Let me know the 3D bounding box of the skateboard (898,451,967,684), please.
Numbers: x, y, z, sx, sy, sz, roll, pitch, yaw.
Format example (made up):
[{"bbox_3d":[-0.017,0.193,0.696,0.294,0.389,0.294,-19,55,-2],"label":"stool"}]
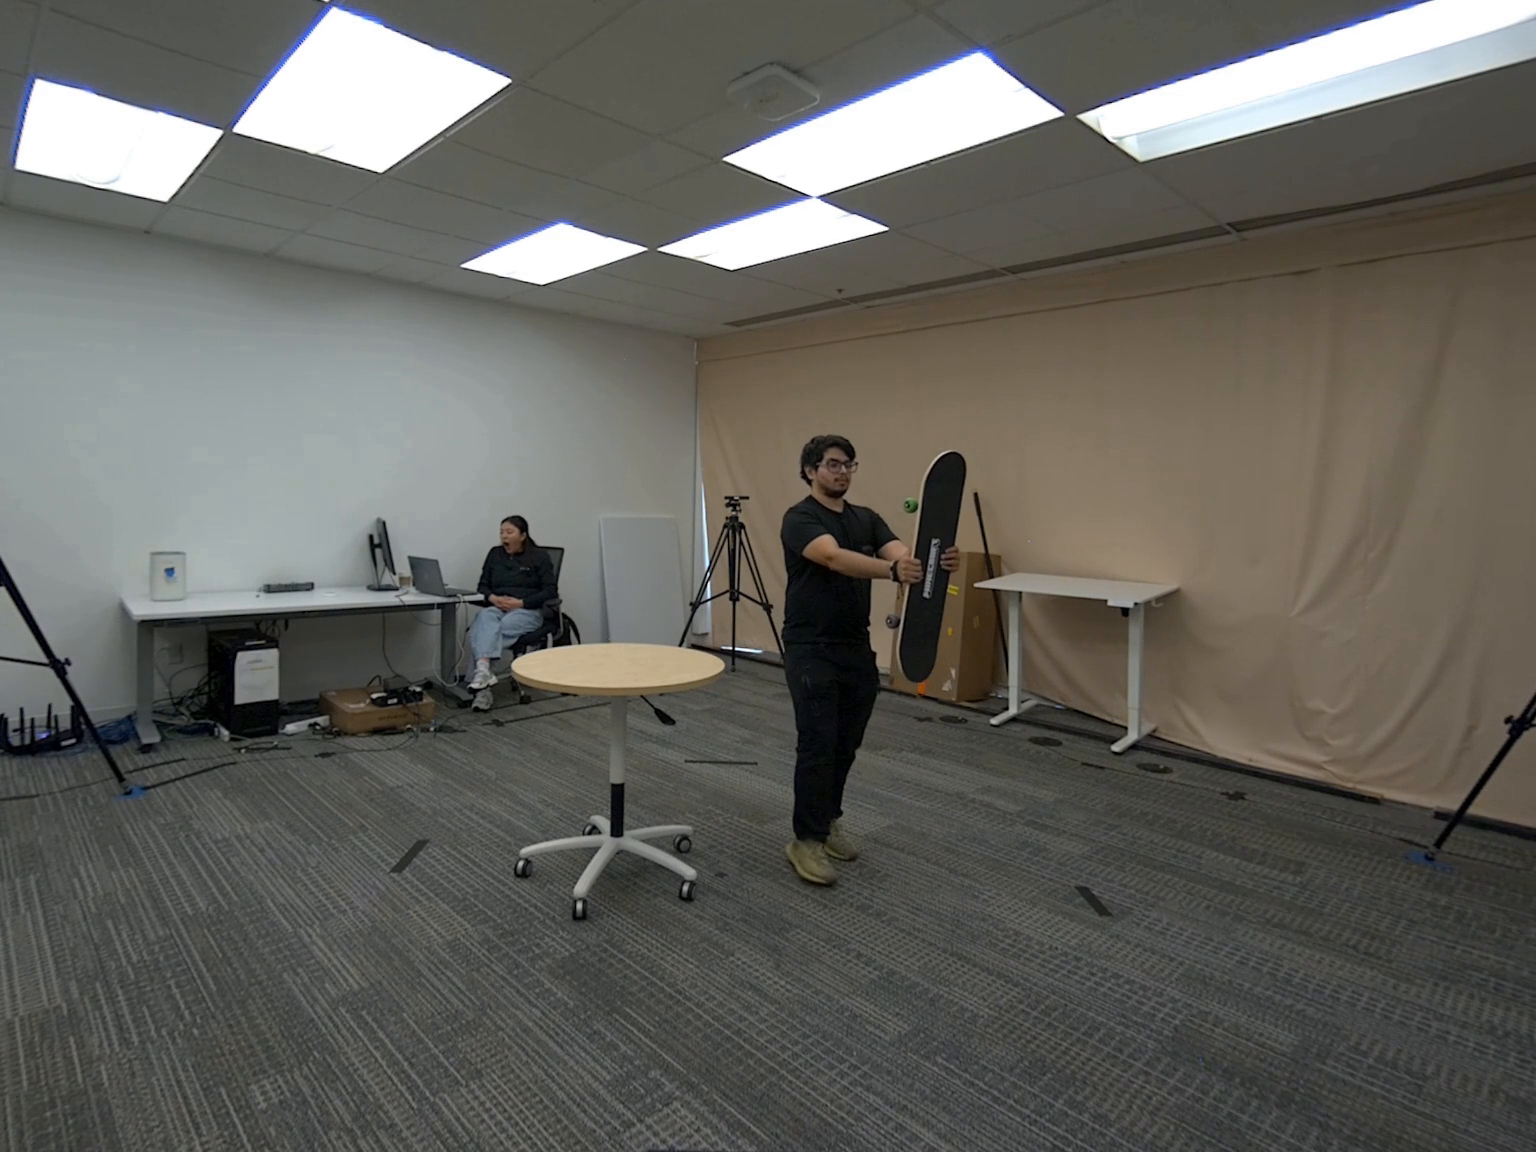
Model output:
[{"bbox_3d":[0.523,-0.027,2.844,0.189,0.782,0.113,2,9,-37],"label":"skateboard"}]
